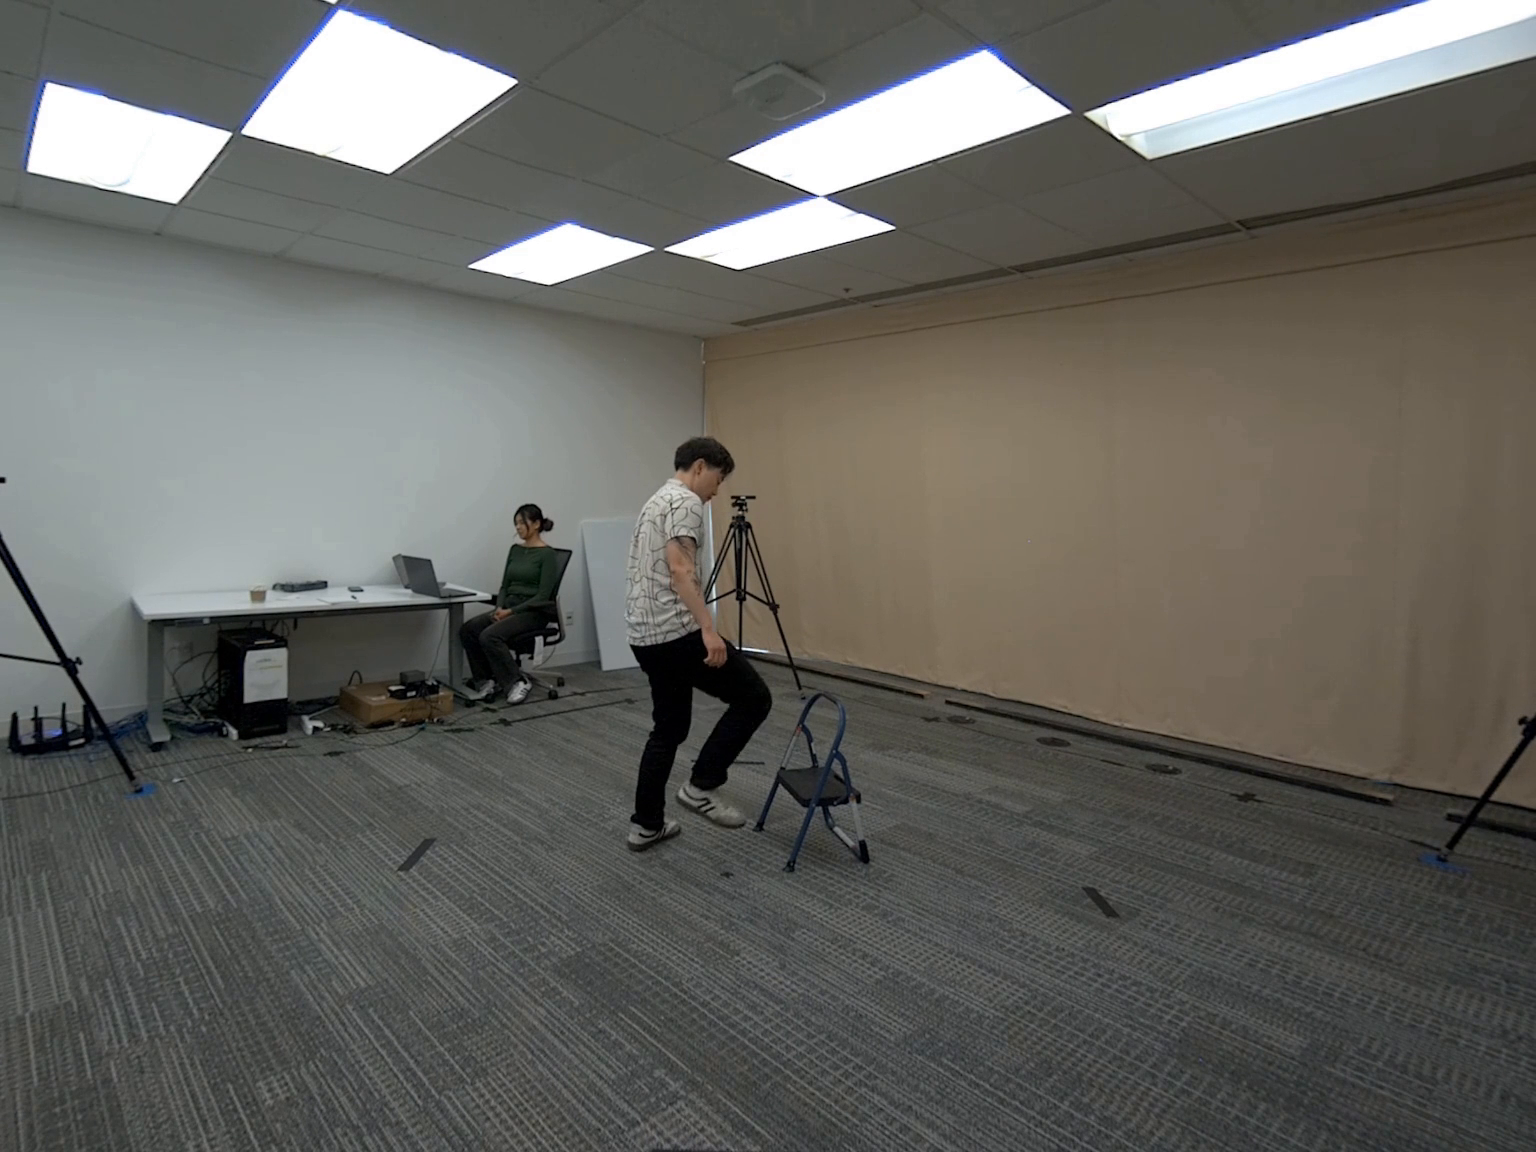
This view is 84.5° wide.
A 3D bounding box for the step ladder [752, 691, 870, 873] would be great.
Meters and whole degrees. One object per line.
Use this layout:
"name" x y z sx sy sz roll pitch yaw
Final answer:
"step ladder" 0.168 0.784 3.367 0.345 0.604 0.437 1 4 -17
